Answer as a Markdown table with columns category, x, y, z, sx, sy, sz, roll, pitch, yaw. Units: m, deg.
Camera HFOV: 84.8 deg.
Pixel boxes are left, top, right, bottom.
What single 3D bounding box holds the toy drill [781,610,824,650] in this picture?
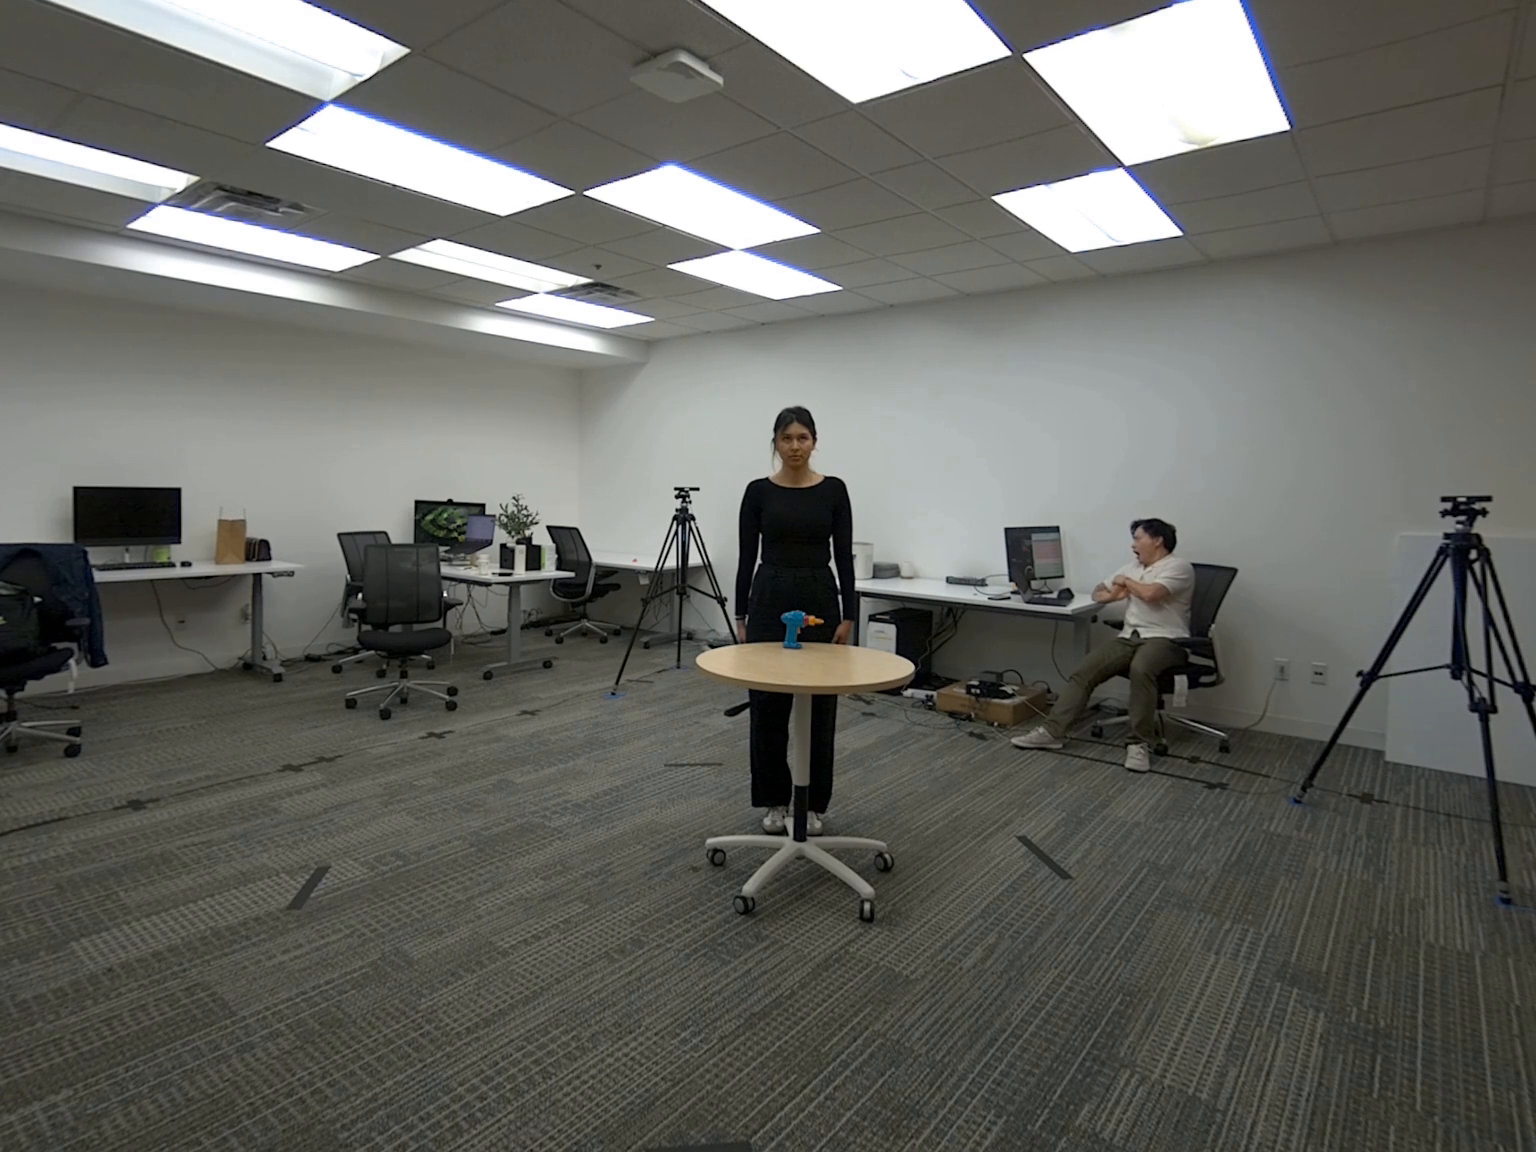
| category | x | y | z | sx | sy | sz | roll | pitch | yaw |
| --- | --- | --- | --- | --- | --- | --- | --- | --- | --- |
| toy drill | 0.129 | 0.201 | 3.249 | 0.174 | 0.145 | 0.060 | 2 | 3 | 23 |
